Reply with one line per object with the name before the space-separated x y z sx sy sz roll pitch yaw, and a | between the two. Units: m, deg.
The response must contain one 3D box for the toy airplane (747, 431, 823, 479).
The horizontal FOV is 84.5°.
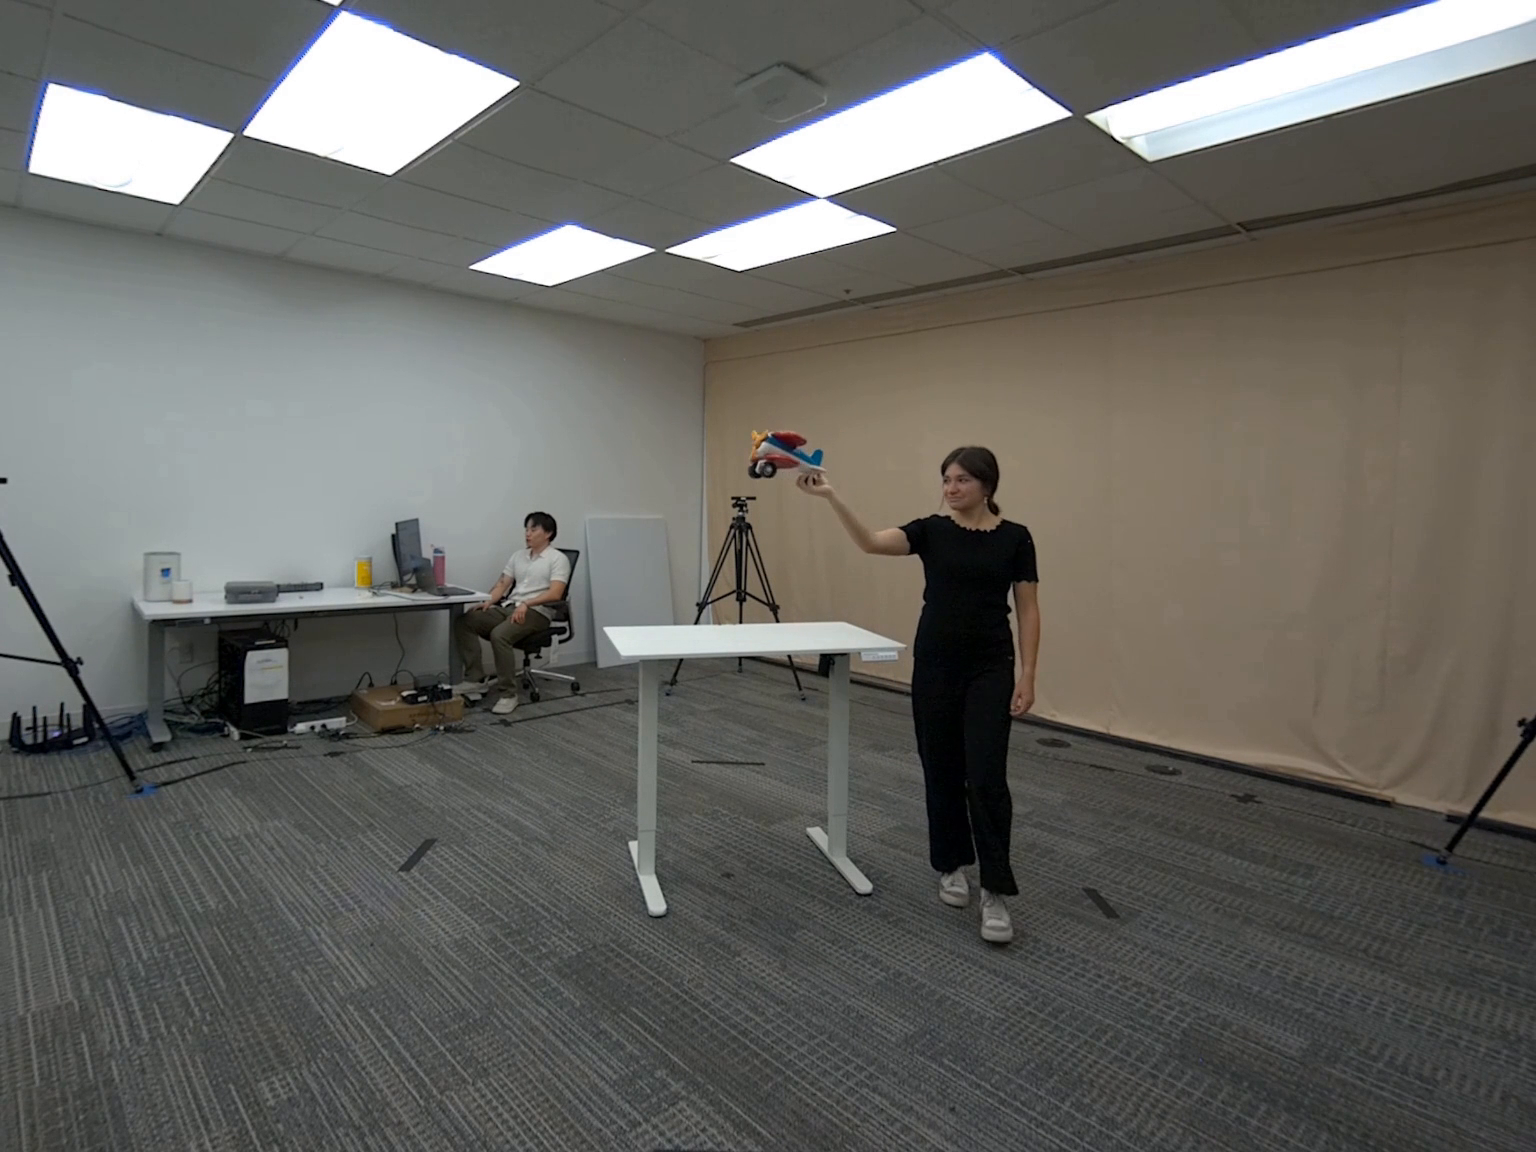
toy airplane | 0.051 -0.390 2.795 0.257 0.156 0.253 9 2 35
